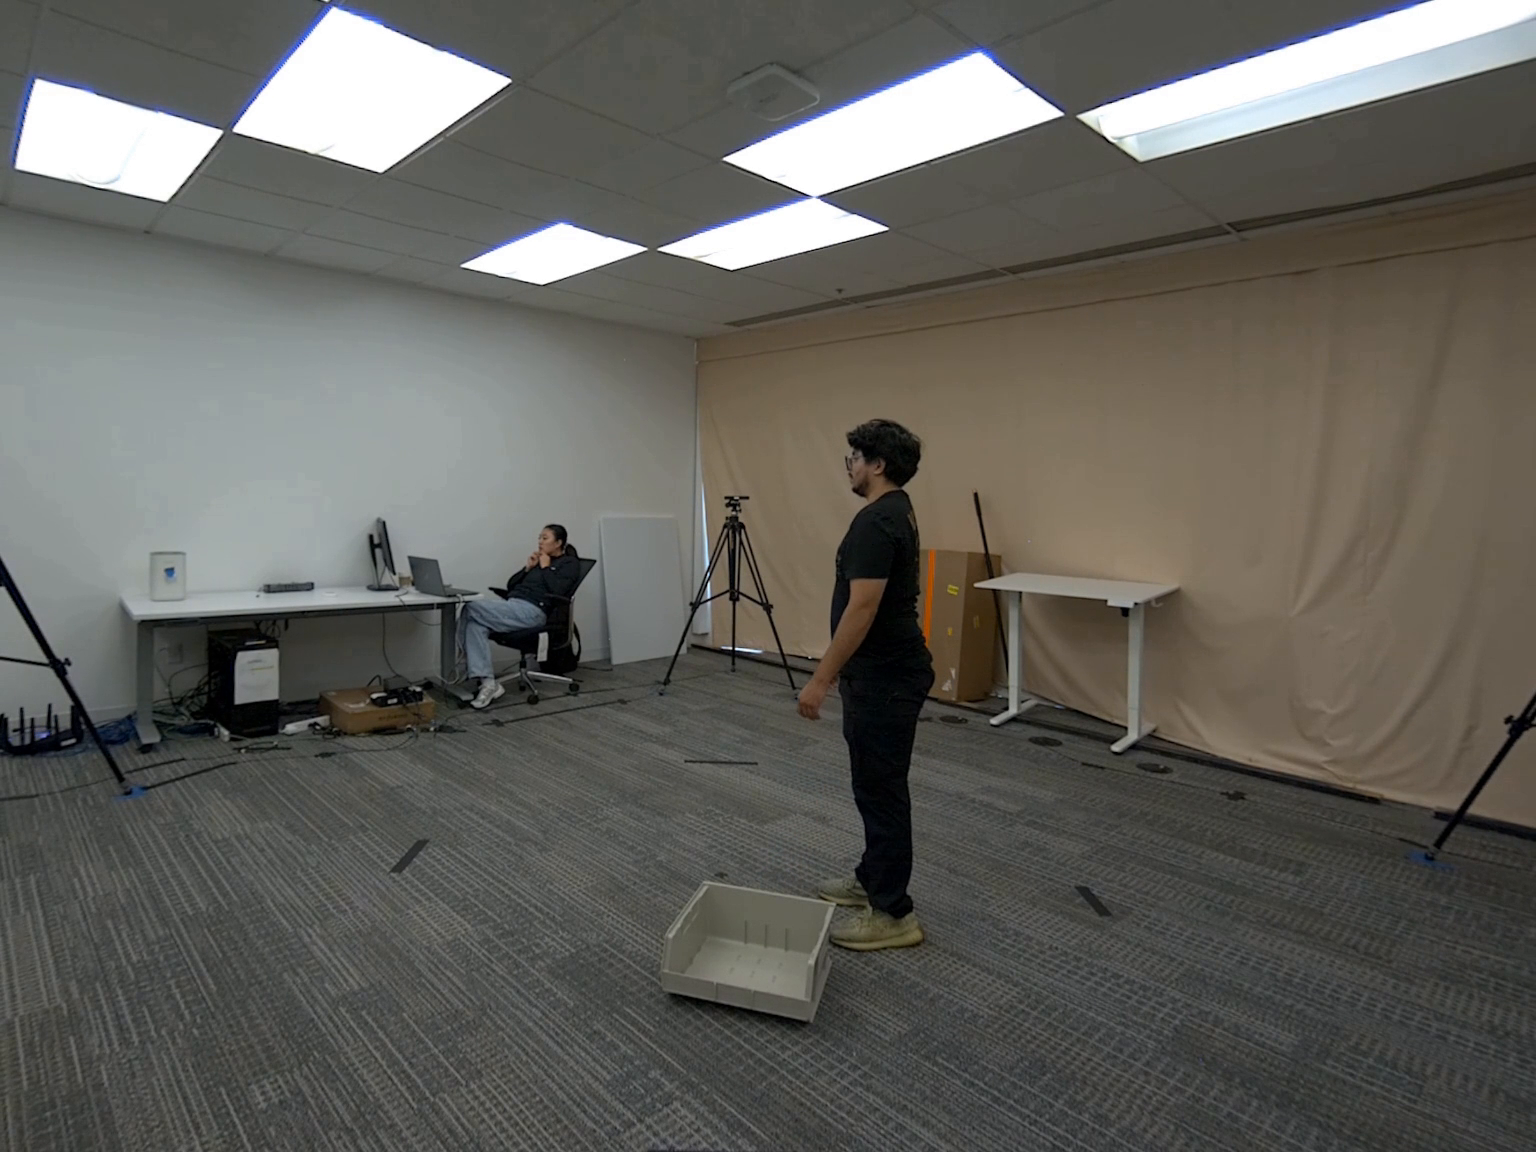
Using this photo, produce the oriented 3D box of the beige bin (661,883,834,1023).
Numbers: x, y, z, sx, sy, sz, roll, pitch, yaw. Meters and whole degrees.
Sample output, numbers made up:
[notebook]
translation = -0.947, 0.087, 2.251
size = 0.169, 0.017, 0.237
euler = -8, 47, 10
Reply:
[beige bin]
translation = -0.048, 1.084, 2.413
size = 0.428, 0.188, 0.373
euler = 2, 4, 15
